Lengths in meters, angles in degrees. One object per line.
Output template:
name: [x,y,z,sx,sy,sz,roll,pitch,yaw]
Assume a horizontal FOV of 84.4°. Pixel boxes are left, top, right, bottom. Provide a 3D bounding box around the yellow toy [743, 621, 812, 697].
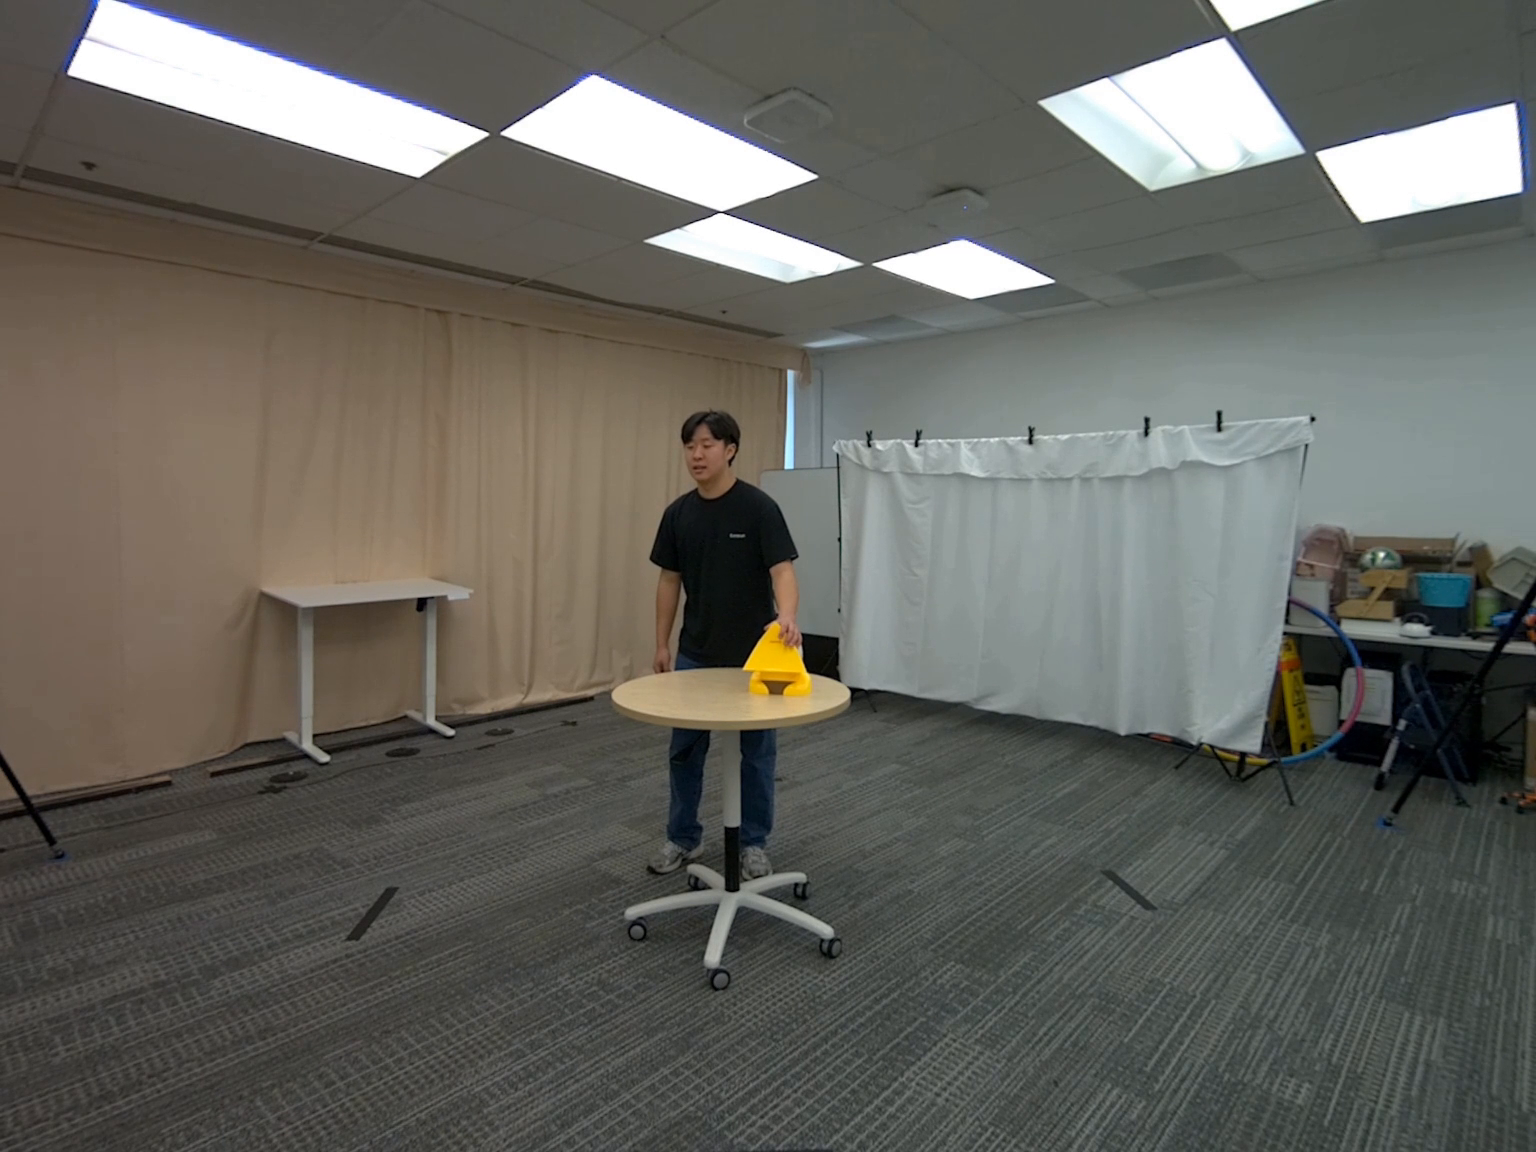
yellow toy: [0.041,0.255,2.716,0.208,0.230,0.190,2,4,14]
